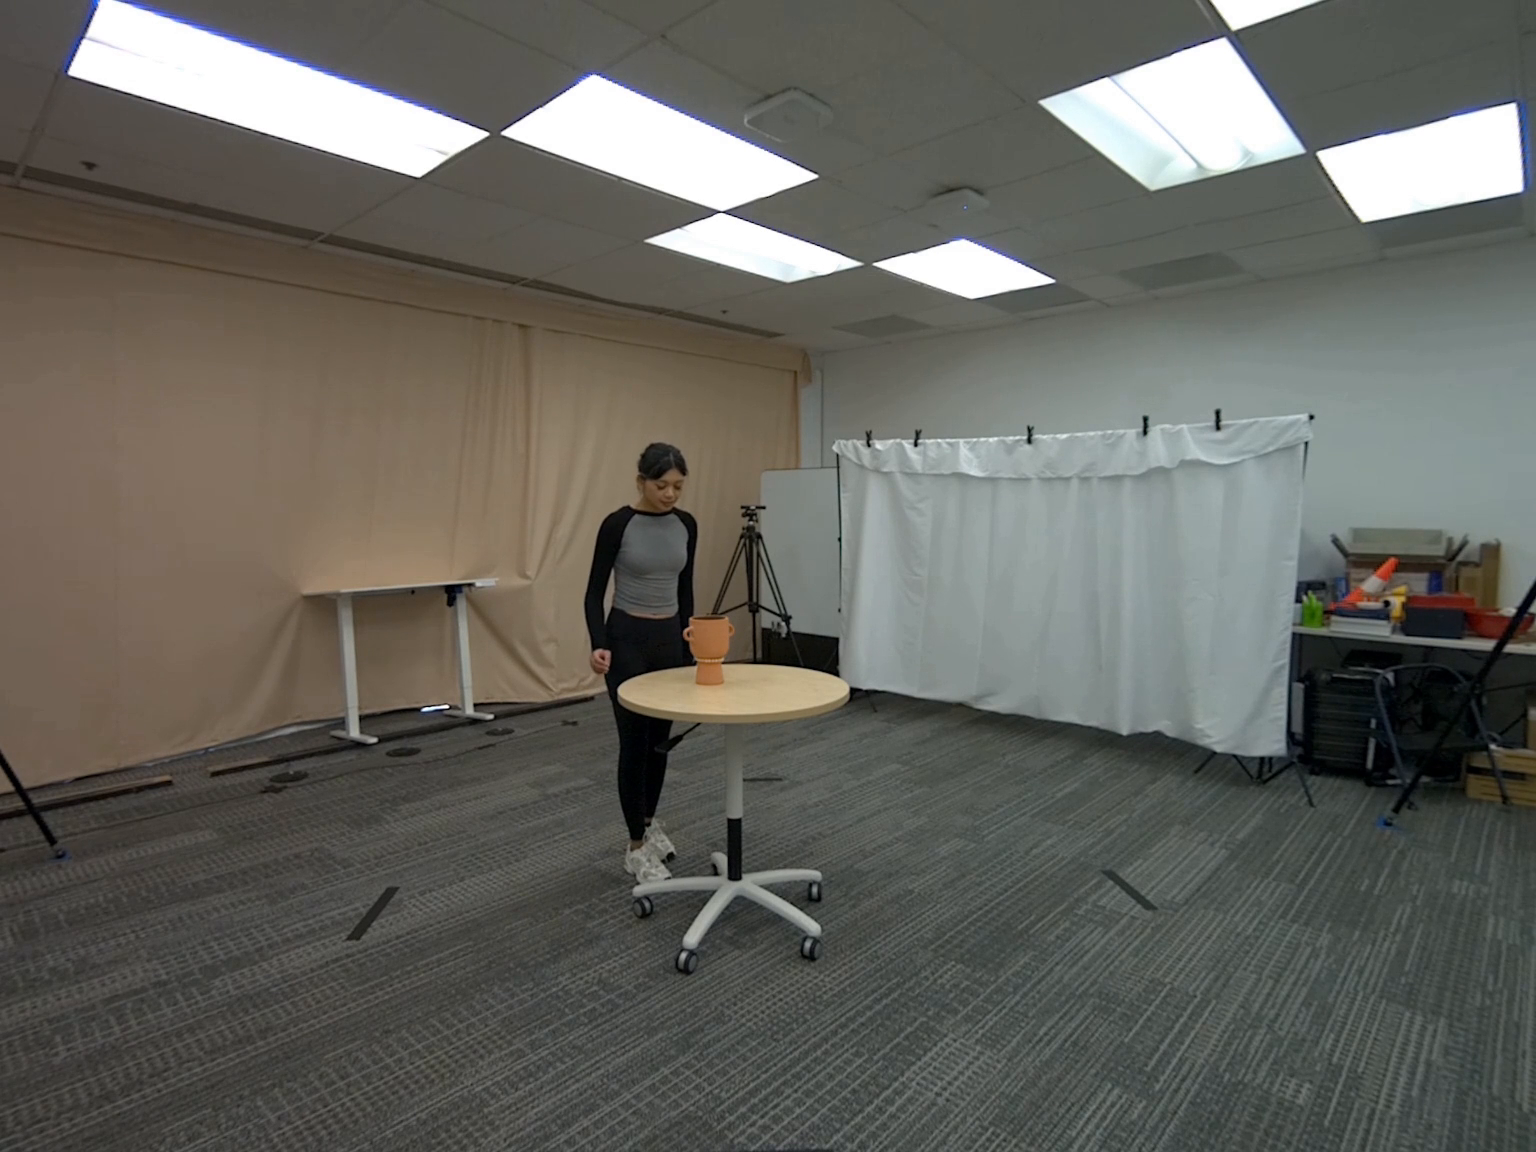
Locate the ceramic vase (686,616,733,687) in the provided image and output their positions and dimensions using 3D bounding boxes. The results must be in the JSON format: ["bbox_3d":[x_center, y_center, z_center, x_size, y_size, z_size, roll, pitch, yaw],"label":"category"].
[{"bbox_3d":[-0.197,0.255,2.852,0.160,0.219,0.134,0,4,6],"label":"ceramic vase"}]
